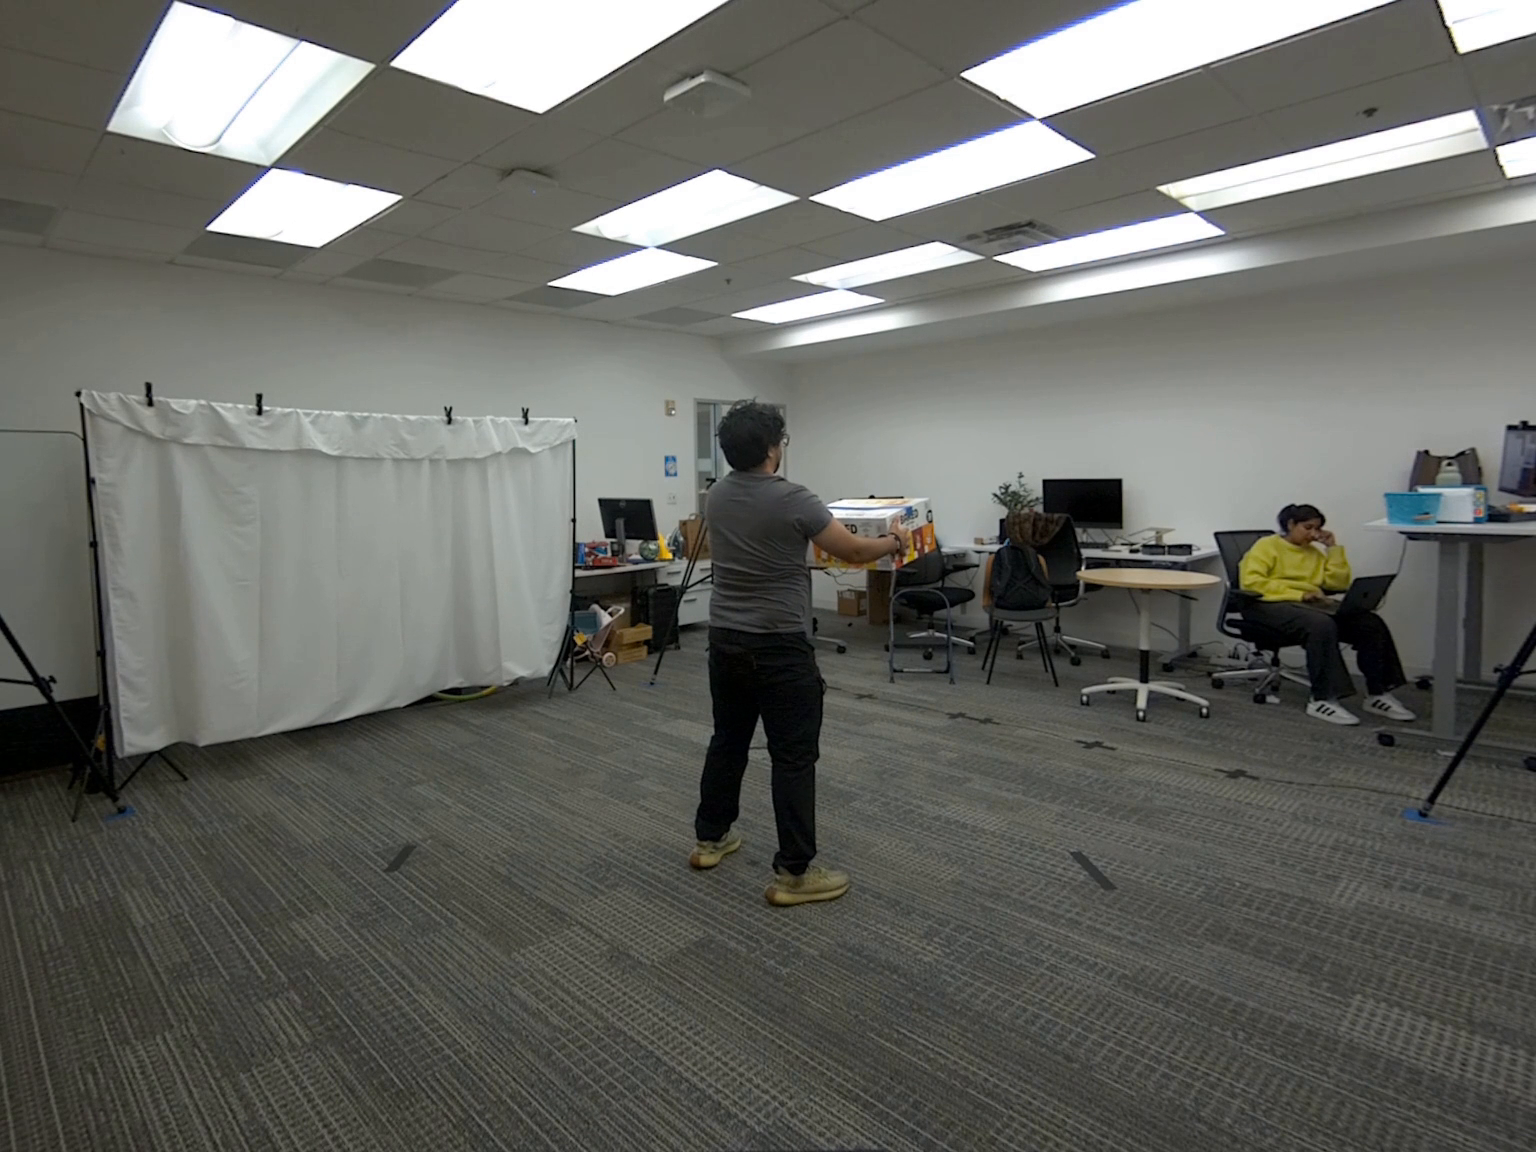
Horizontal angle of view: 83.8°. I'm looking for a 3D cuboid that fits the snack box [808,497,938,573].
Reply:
[{"bbox_3d":[0.387,-0.170,3.362,0.417,0.203,0.334,3,17,40],"label":"snack box"}]
